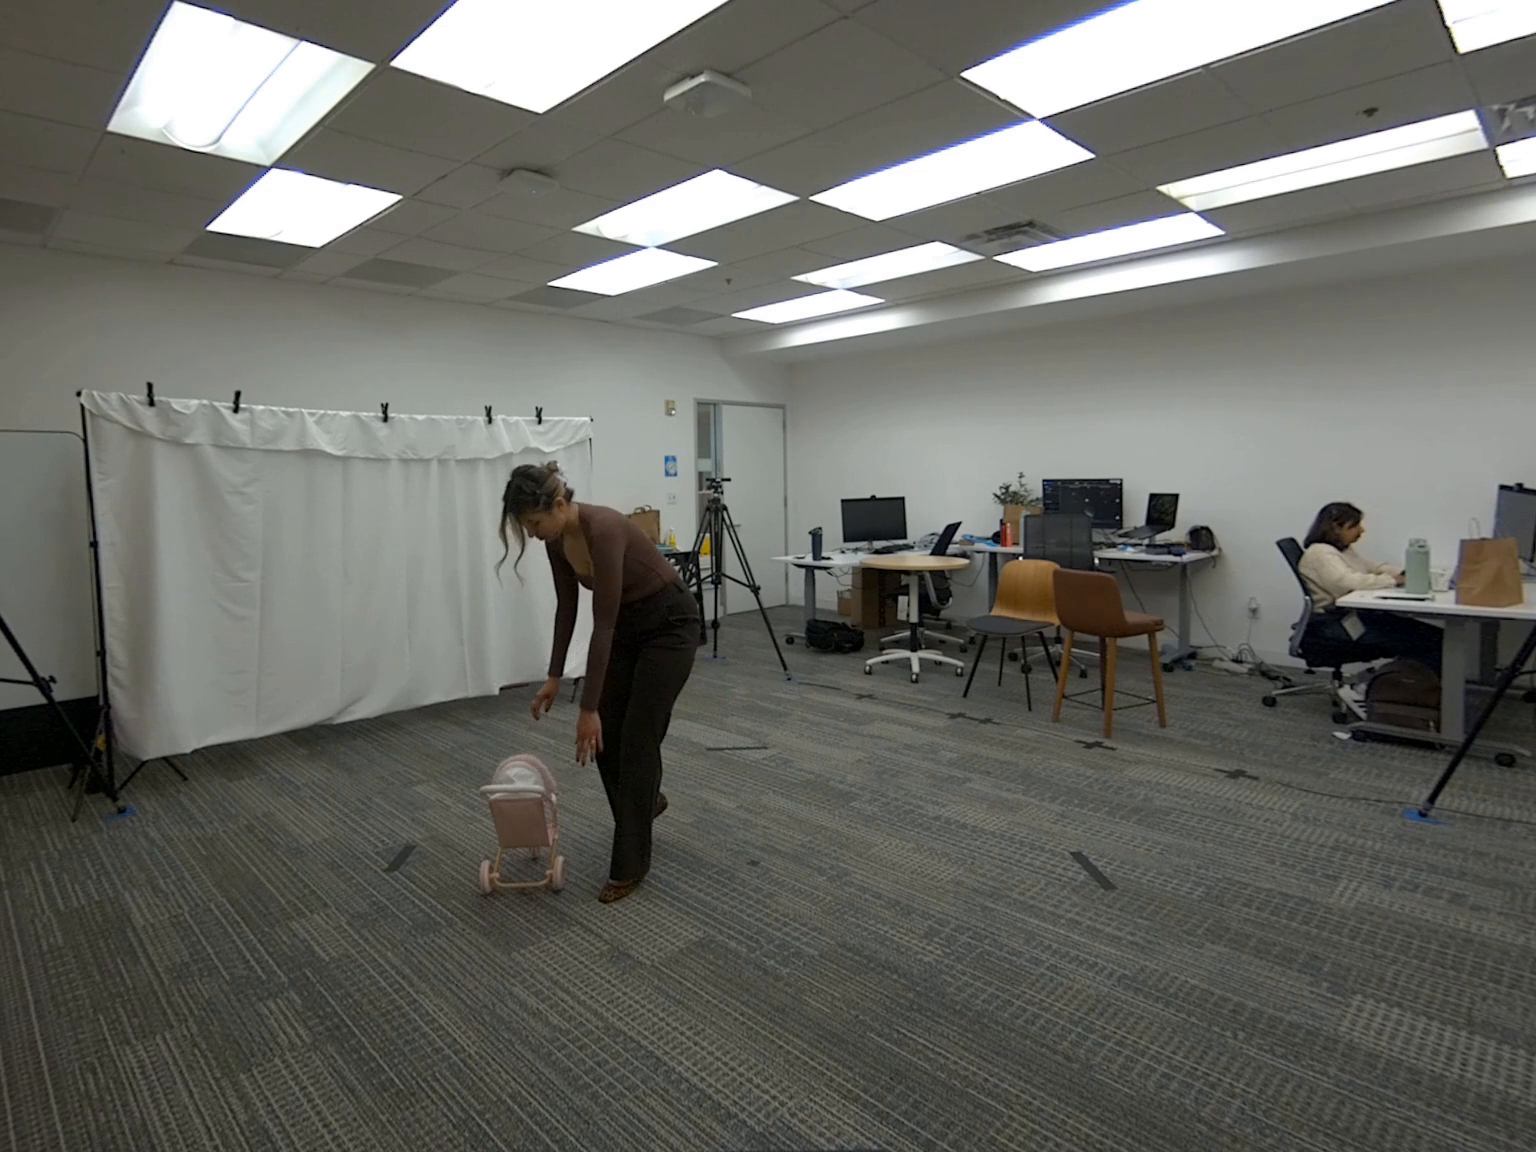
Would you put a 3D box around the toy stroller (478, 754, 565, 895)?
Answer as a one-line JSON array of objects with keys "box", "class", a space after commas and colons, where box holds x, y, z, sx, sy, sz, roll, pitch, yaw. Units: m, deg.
[{"box": [-0.842, 0.846, 2.980, 0.281, 0.525, 0.348, 0, 22, -1], "class": "toy stroller"}]
